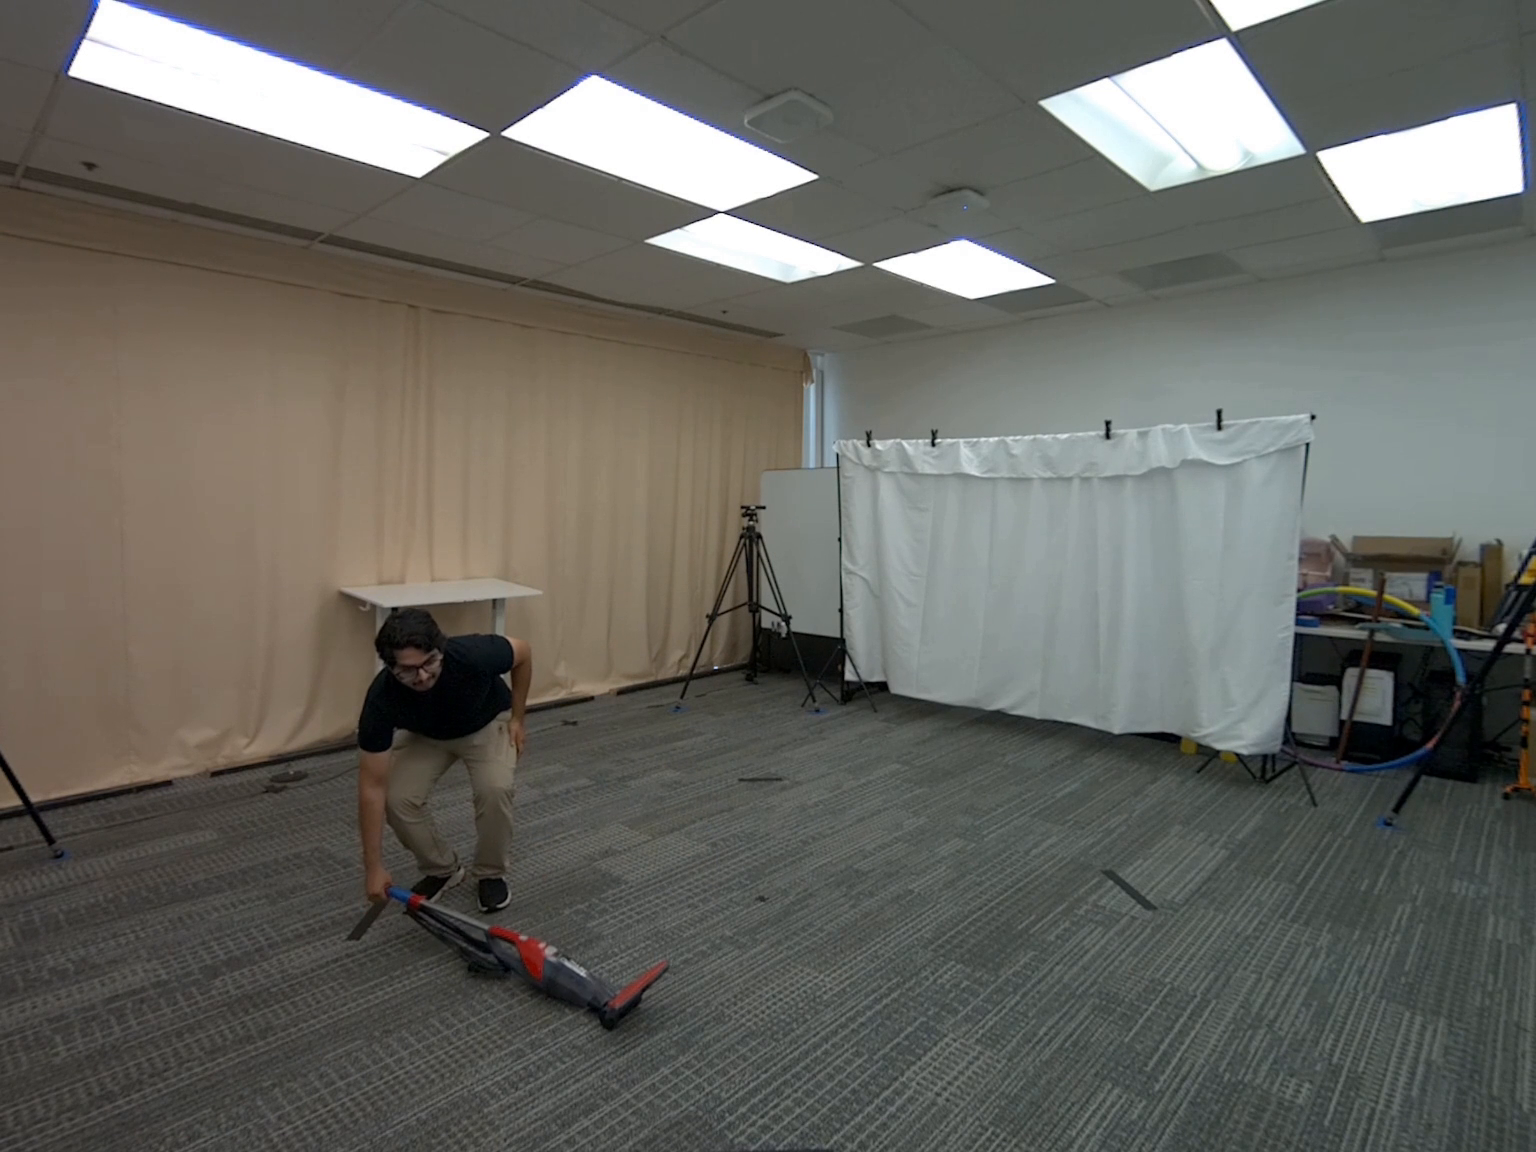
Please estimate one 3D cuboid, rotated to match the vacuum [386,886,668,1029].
[{"bbox_3d":[-0.832,1.114,2.516,1.079,0.143,0.246,5,8,27],"label":"vacuum"}]
